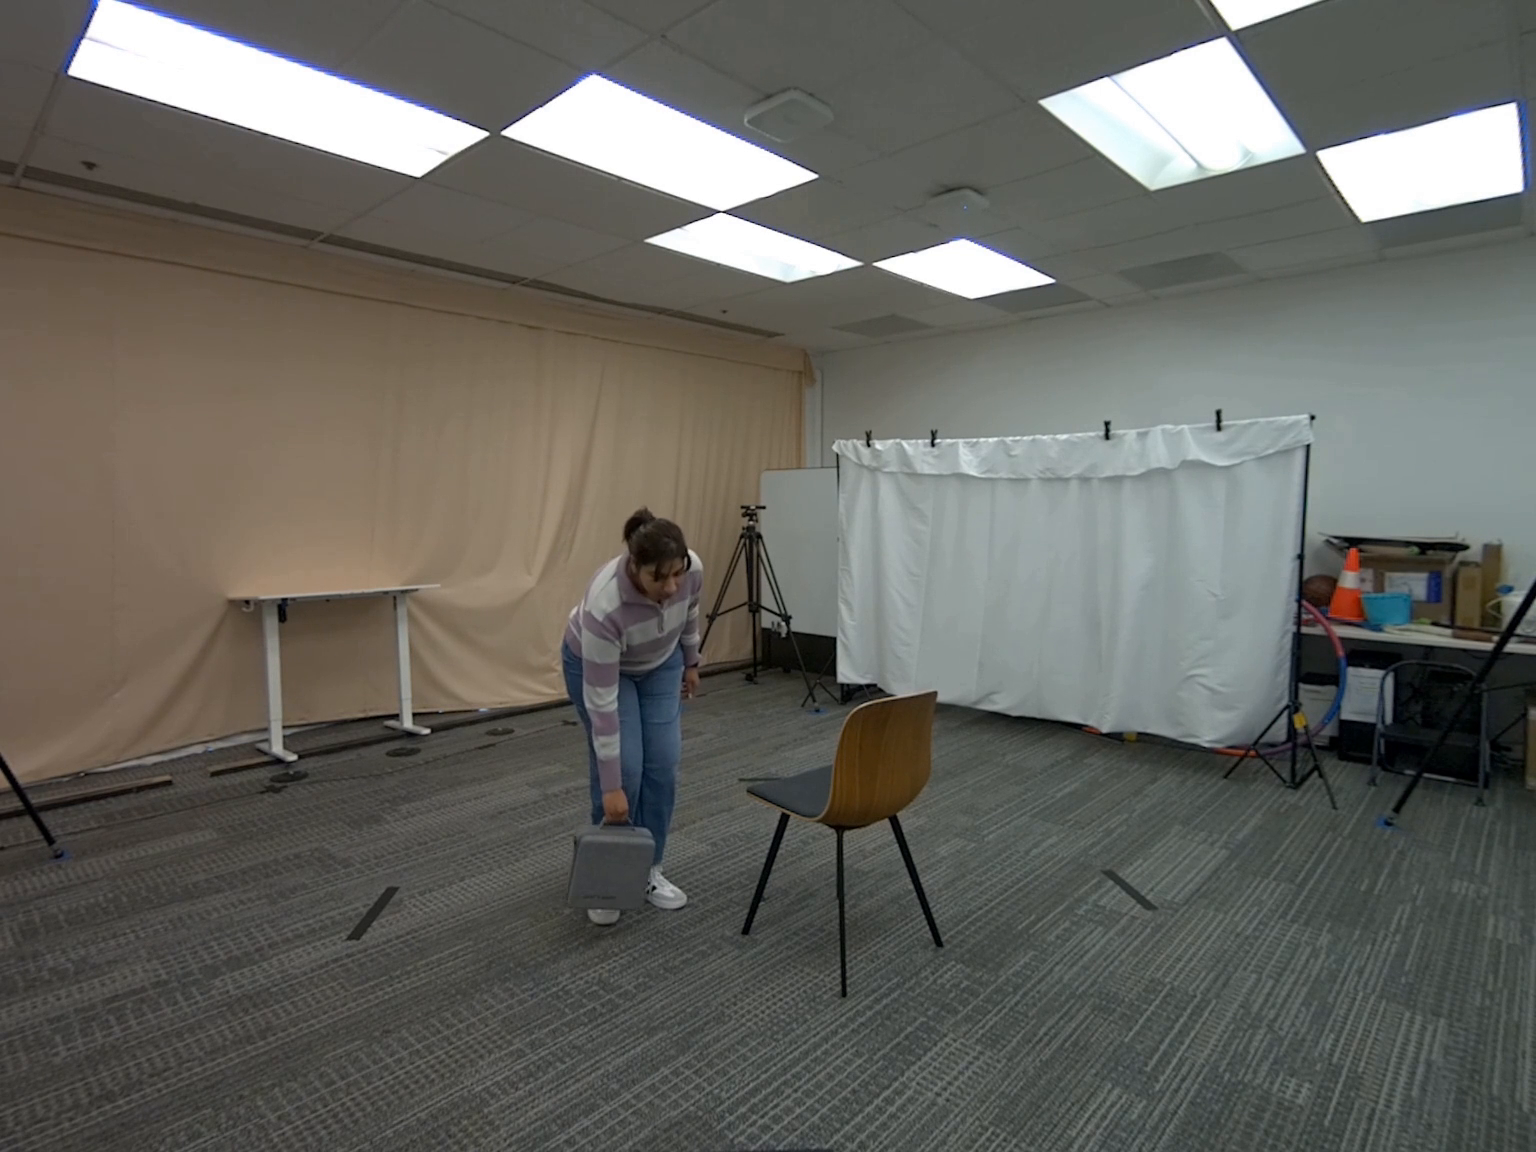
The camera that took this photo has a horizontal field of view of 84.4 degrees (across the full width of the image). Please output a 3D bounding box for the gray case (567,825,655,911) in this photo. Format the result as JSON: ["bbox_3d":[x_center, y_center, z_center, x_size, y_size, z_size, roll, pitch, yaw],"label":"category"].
[{"bbox_3d":[-0.507,0.929,2.717,0.252,0.260,0.107,10,8,-18],"label":"gray case"}]
